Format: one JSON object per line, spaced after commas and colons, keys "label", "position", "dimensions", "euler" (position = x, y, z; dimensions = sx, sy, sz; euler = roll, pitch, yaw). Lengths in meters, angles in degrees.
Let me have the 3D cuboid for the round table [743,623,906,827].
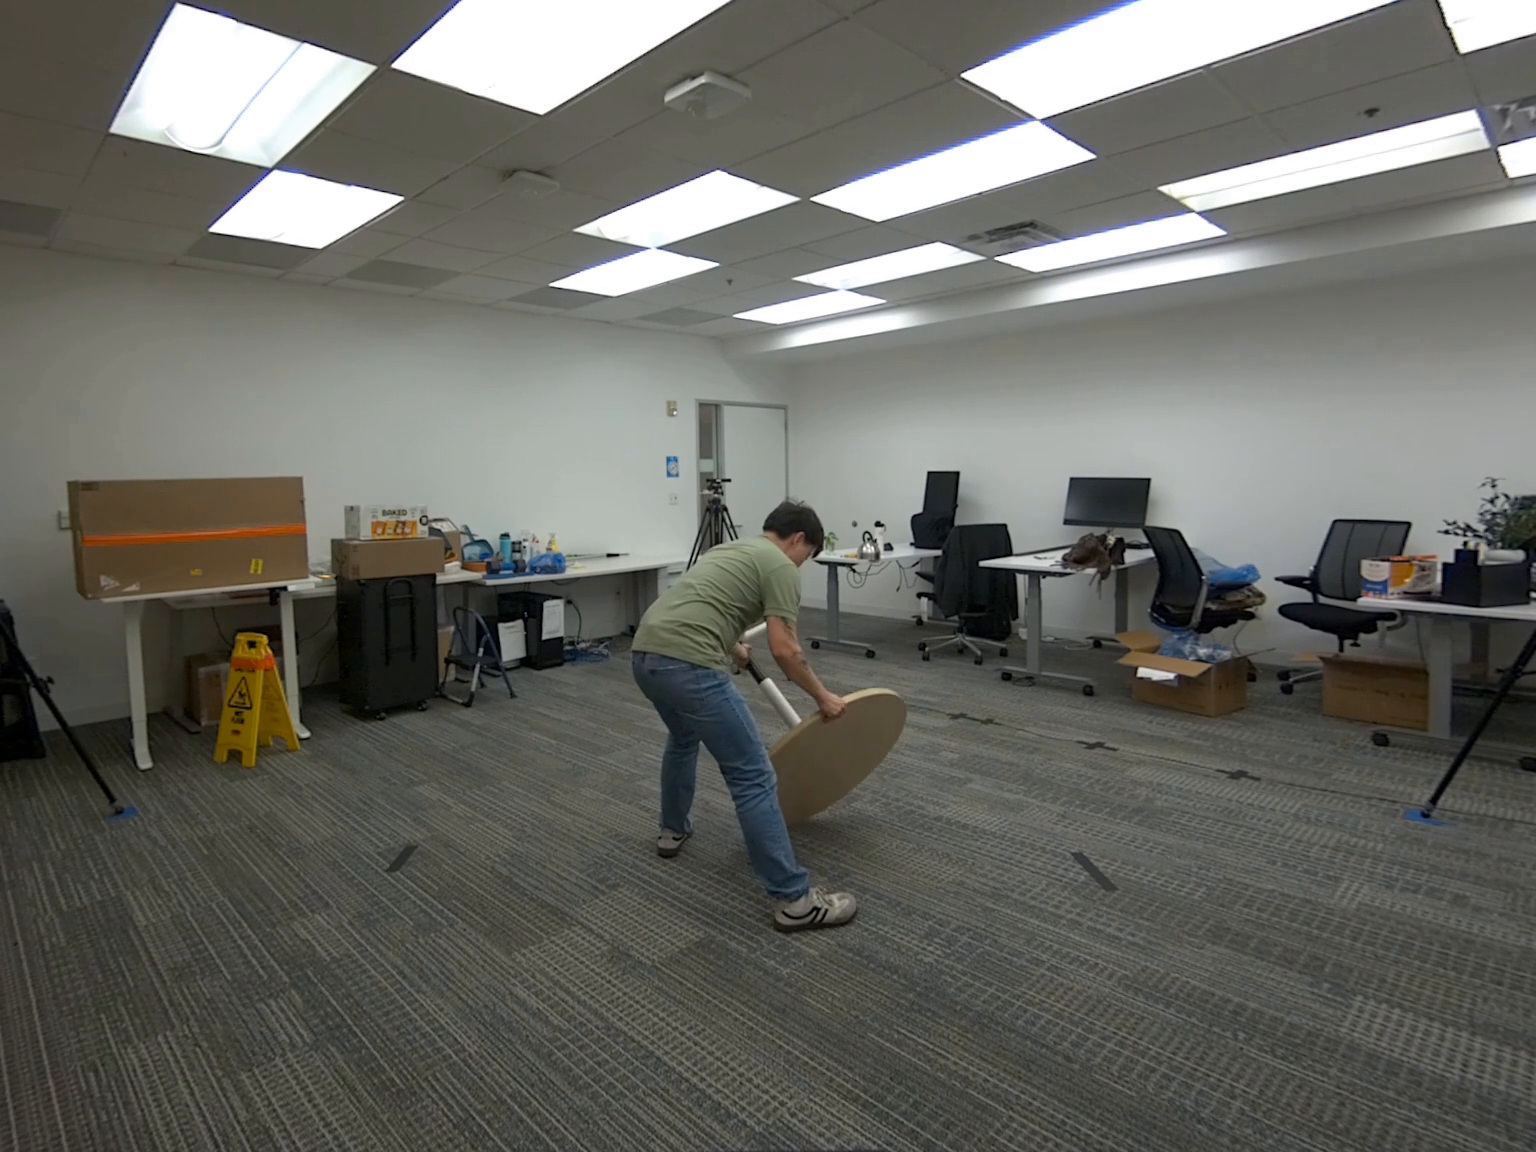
{"label": "round table", "position": [0.005, 0.465, 3.472], "dimensions": [0.744, 0.755, 0.824], "euler": [-5, 41, -39]}
